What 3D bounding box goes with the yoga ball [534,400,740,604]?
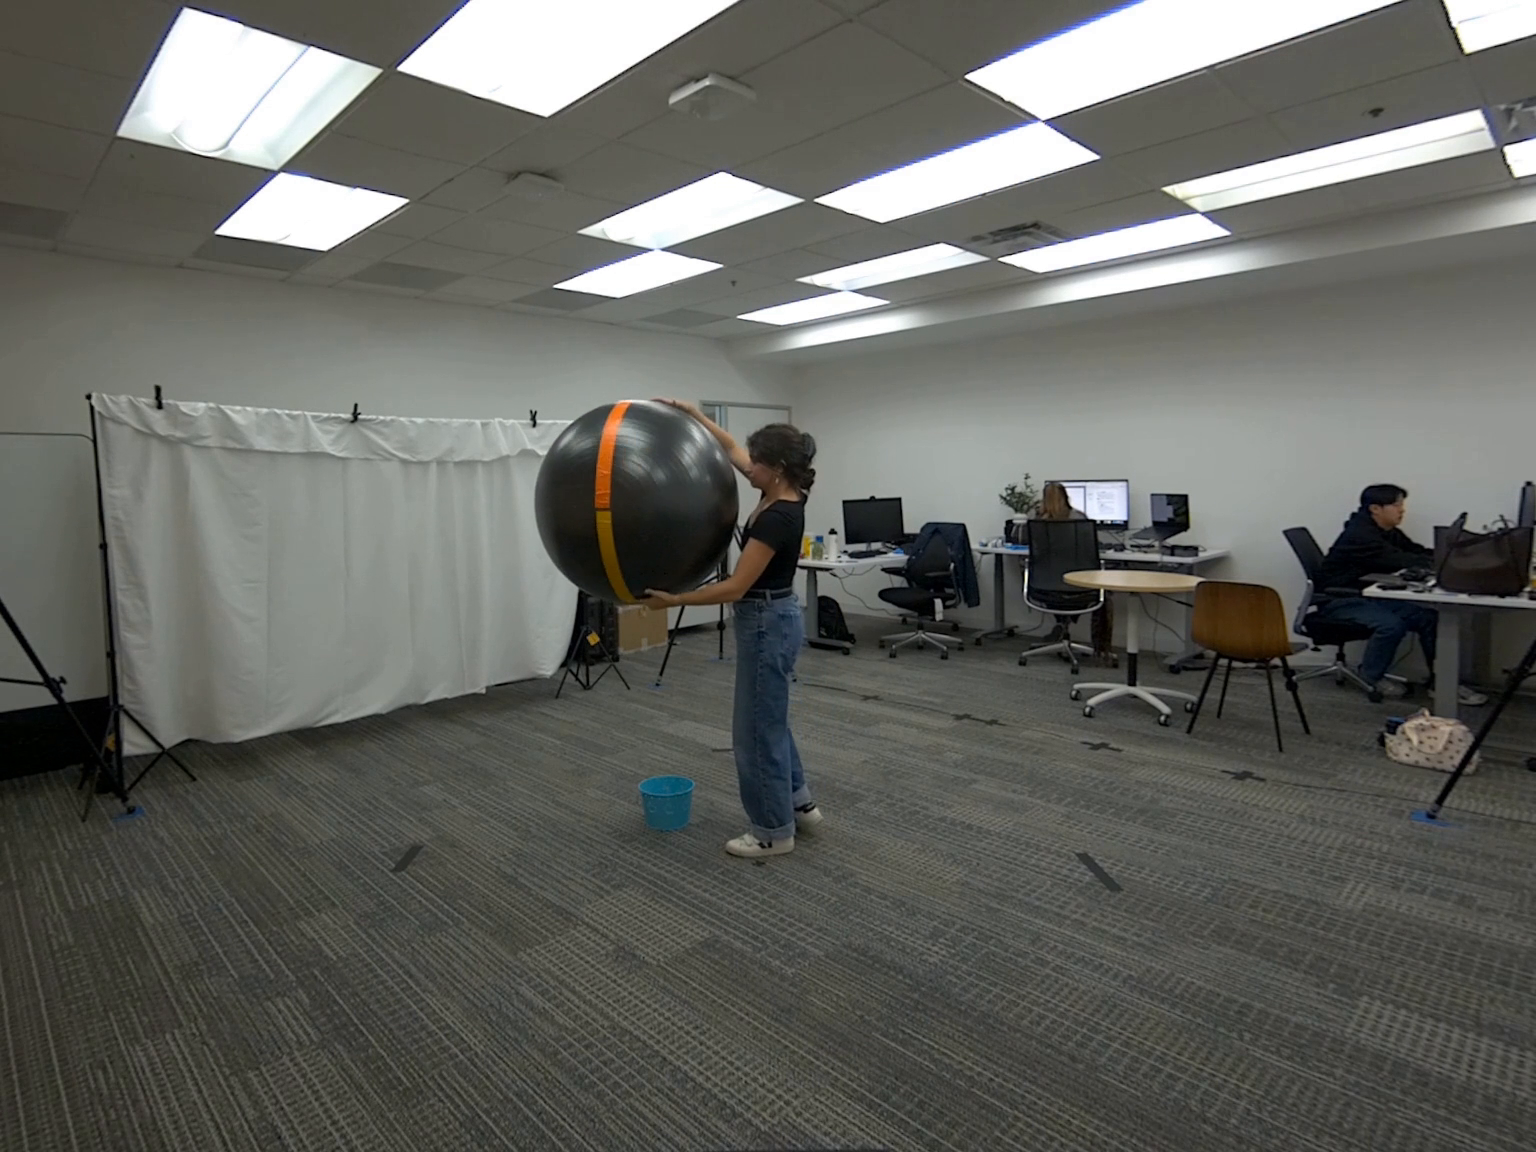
[{"bbox_3d":[-0.488,-0.277,3.192,0.757,0.755,0.762,-1,5,-2],"label":"yoga ball"}]
